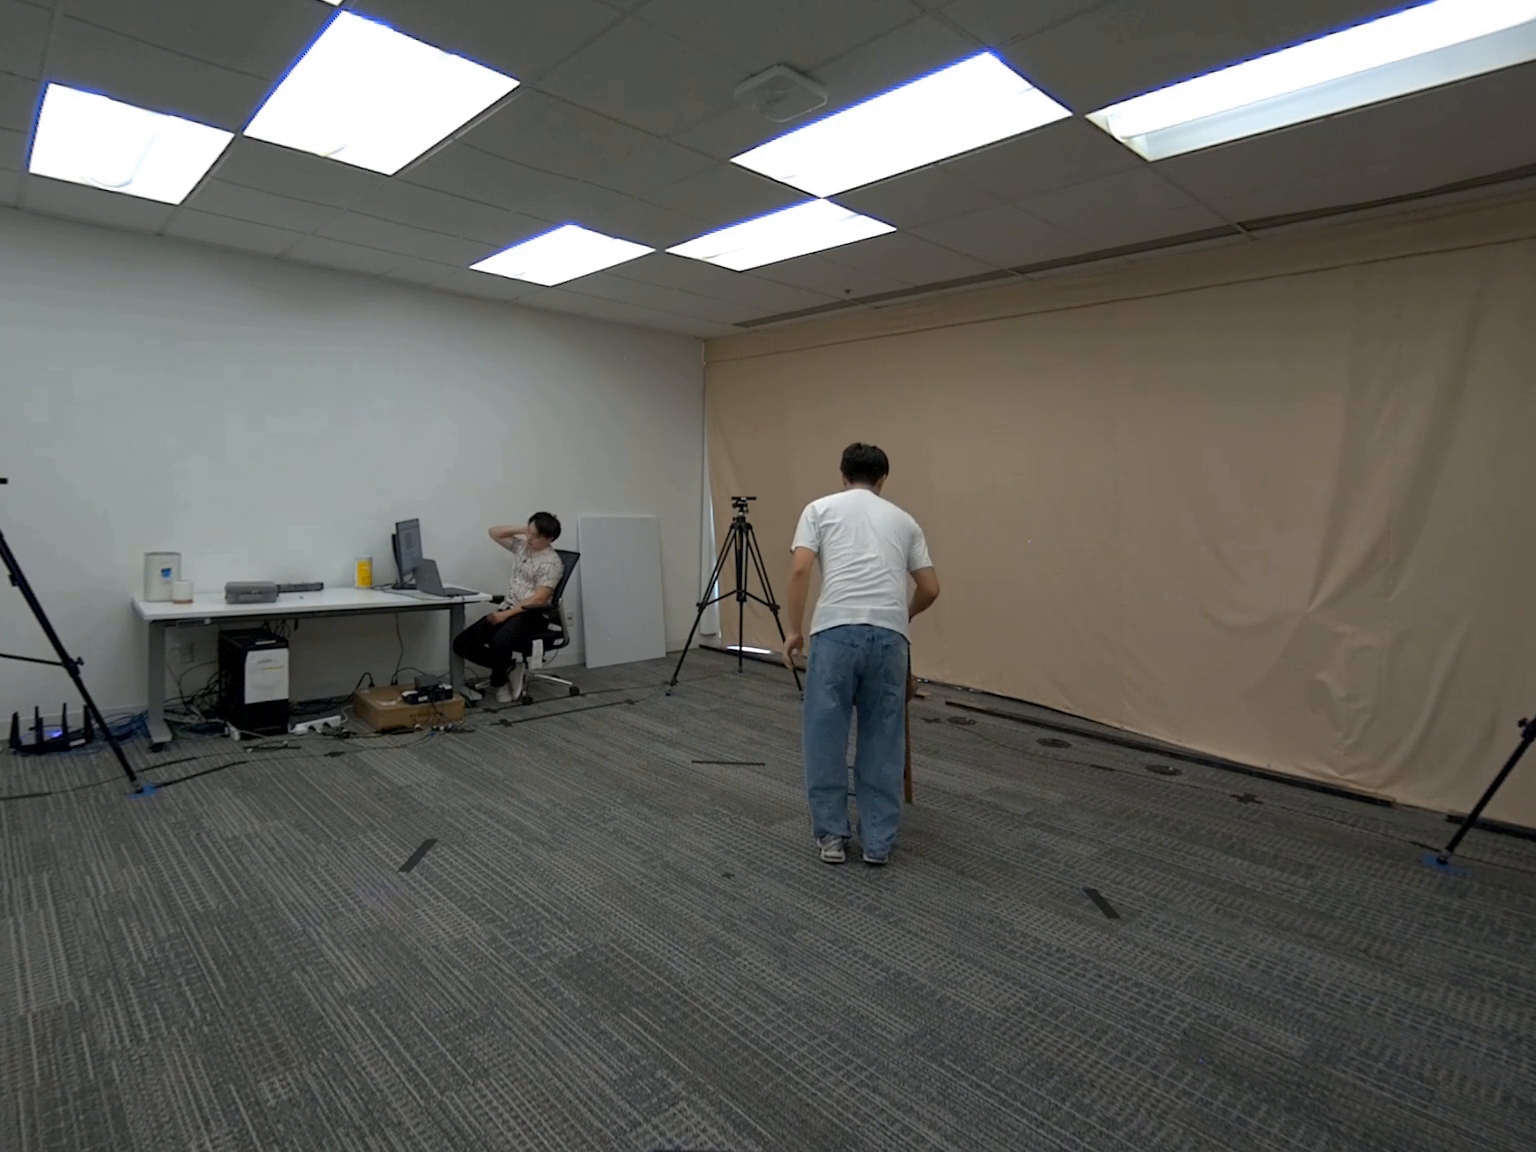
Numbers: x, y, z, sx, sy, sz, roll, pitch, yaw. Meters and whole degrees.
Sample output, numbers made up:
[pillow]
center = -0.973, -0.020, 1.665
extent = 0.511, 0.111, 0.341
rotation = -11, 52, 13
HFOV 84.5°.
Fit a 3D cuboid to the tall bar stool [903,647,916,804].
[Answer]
[tall bar stool]
center = 0.421, 0.627, 3.752
extent = 0.463, 0.887, 0.462
rotation = 2, 5, 18
